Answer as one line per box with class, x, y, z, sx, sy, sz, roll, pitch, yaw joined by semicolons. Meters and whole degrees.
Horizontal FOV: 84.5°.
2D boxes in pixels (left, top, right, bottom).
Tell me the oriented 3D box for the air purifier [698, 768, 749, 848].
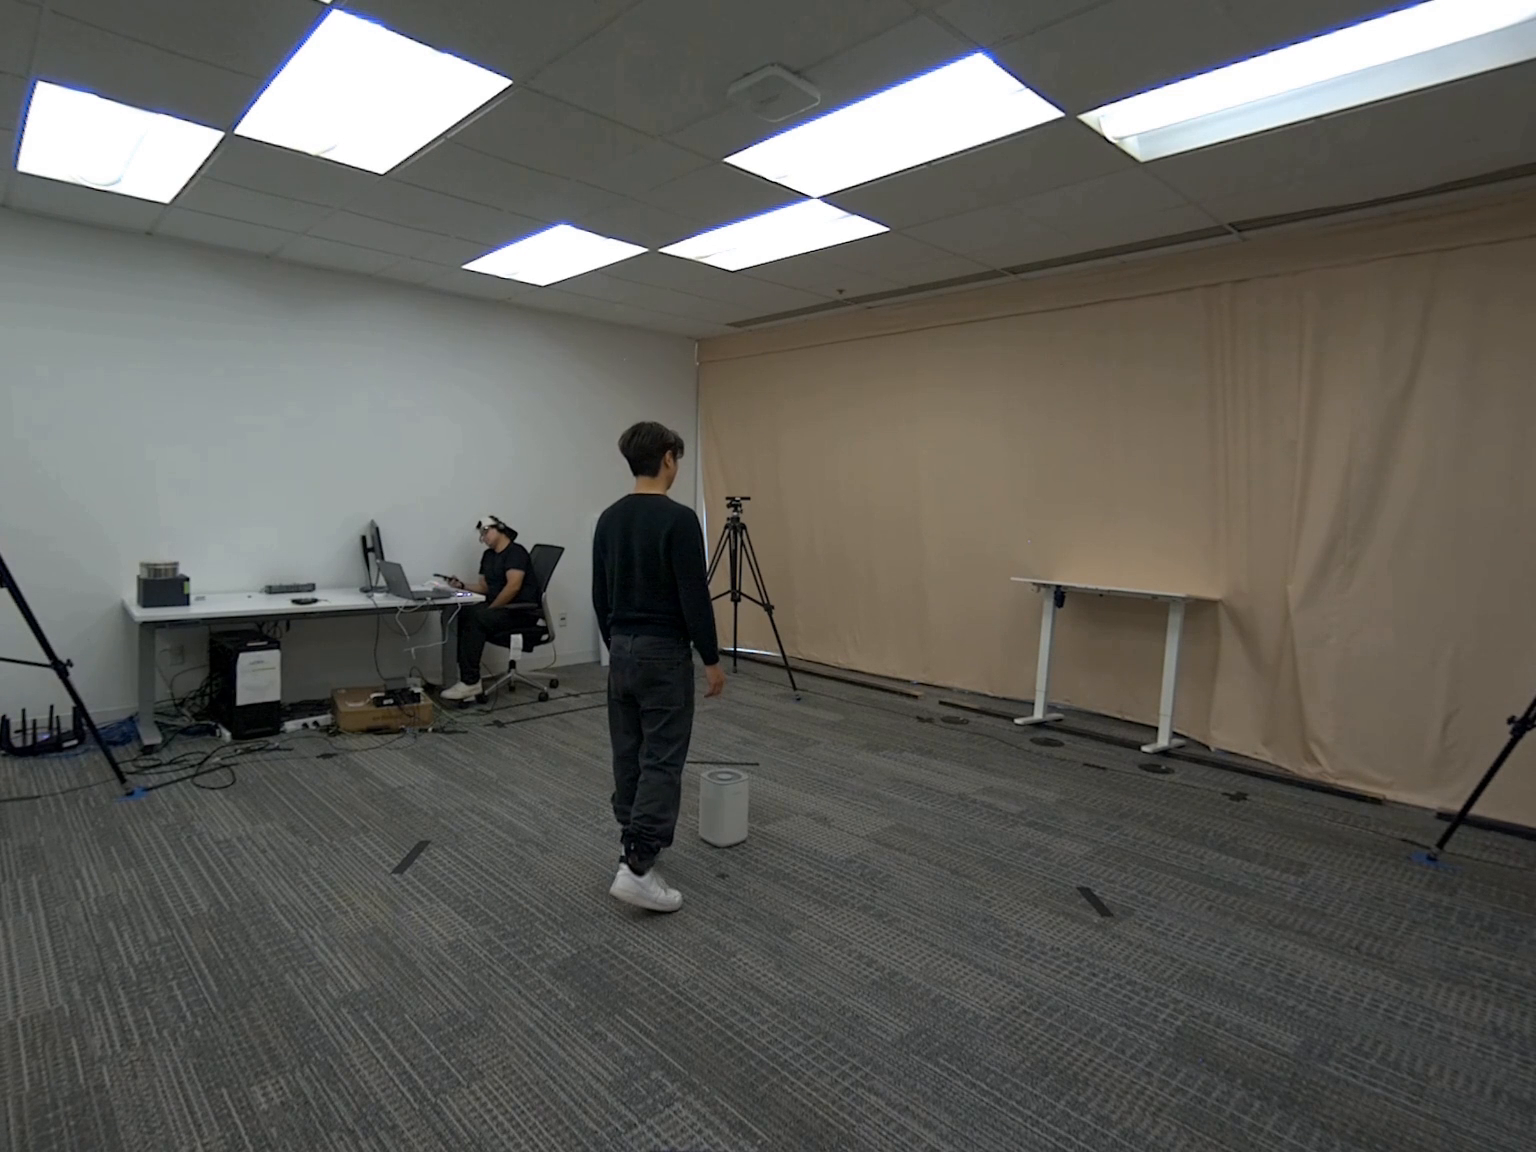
air purifier;-0.192;0.945;3.431;0.167;0.265;0.176;-2;5;-44
